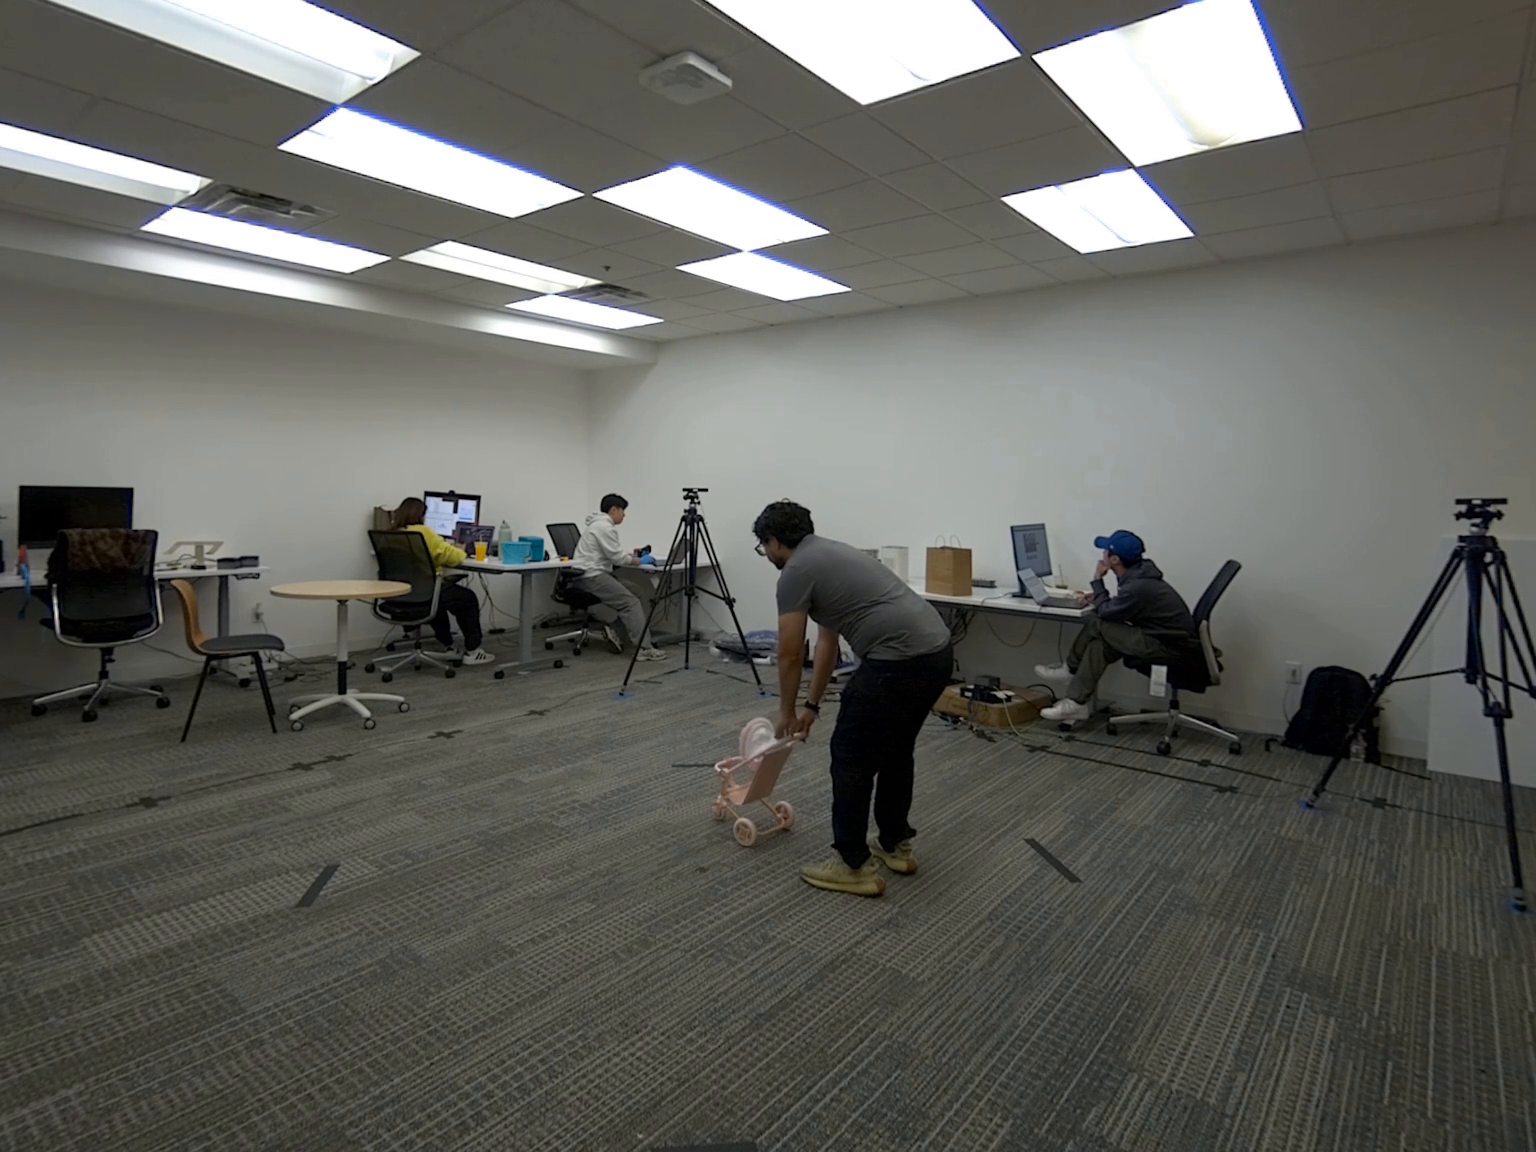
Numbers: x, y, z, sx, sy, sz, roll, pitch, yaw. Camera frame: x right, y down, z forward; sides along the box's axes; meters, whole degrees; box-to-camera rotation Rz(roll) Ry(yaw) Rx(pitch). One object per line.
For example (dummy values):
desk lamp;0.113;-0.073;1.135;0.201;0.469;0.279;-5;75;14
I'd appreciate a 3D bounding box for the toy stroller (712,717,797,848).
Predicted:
toy stroller;-0.066;0.809;3.450;0.272;0.530;0.355;-1;18;-46
